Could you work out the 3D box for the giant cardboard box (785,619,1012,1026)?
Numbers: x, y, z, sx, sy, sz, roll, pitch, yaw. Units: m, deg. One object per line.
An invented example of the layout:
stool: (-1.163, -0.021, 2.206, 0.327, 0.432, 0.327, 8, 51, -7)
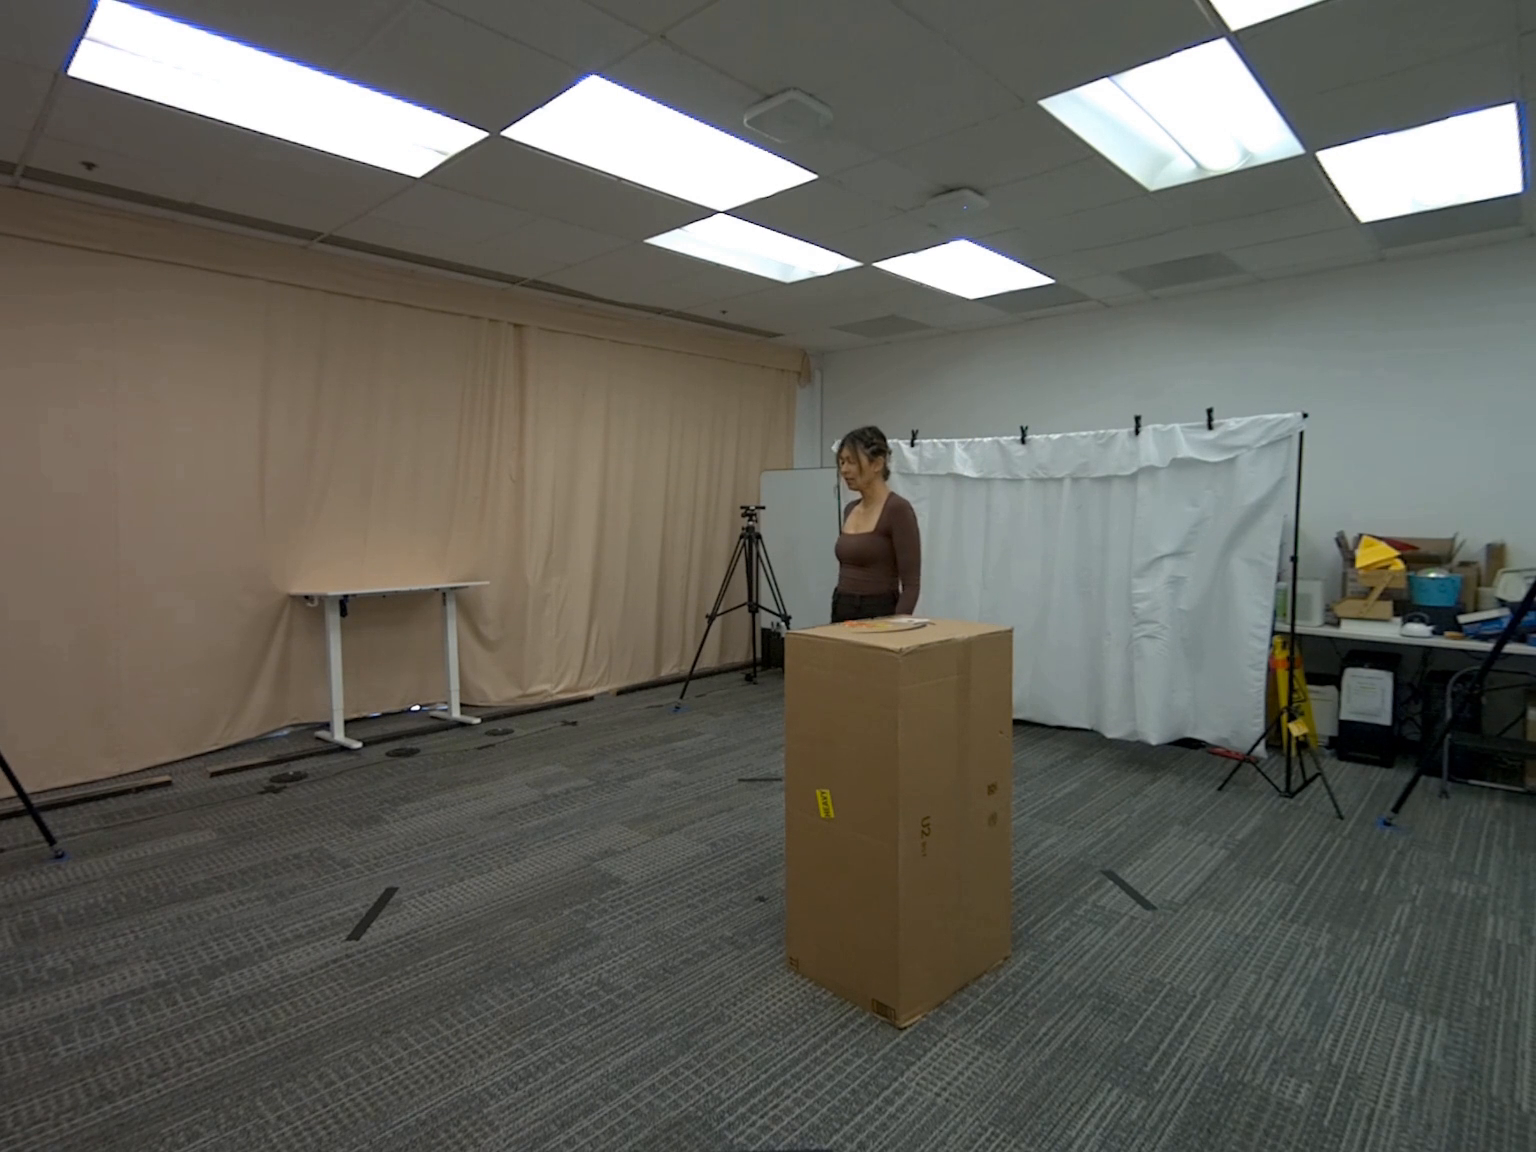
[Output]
giant cardboard box: (0.405, 0.669, 2.552, 0.566, 1.025, 0.461, -3, 3, -41)
